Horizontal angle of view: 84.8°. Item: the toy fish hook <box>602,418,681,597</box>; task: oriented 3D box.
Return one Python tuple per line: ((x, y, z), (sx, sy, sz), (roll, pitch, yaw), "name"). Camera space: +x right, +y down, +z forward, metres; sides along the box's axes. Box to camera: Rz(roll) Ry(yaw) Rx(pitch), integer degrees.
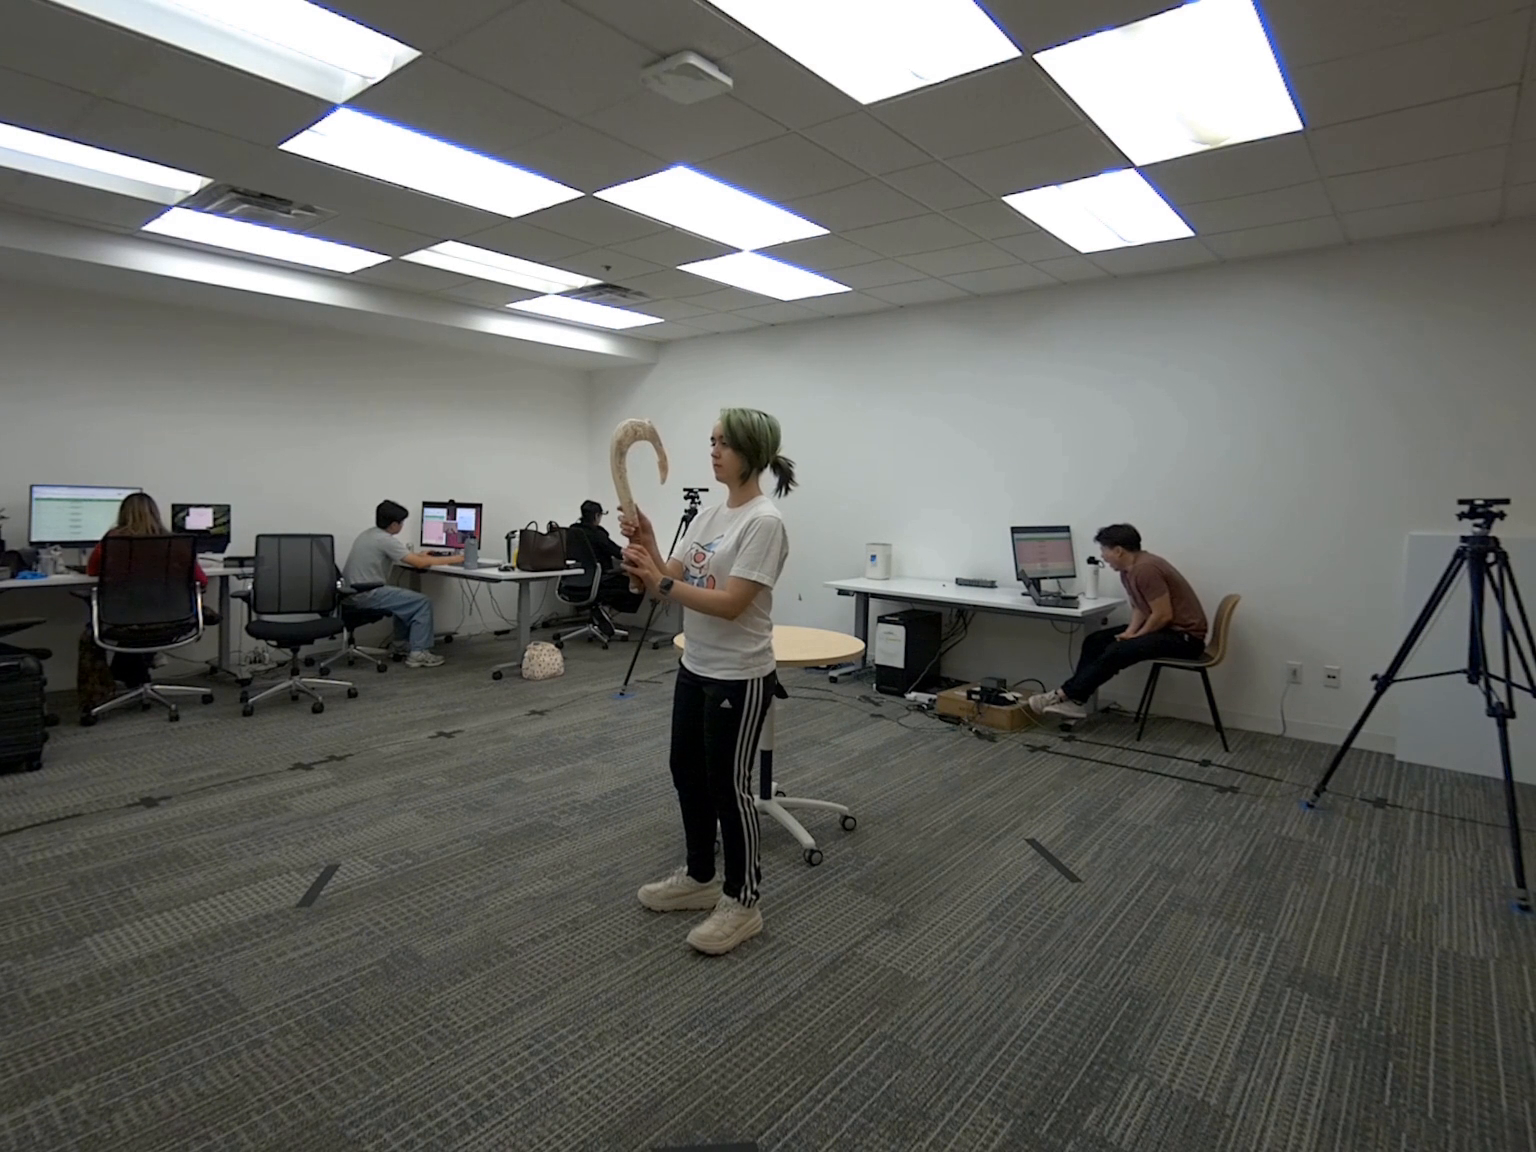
((-0.369, -0.210, 2.501), (0.050, 0.503, 0.219), (1, 8, 42), "toy fish hook")
